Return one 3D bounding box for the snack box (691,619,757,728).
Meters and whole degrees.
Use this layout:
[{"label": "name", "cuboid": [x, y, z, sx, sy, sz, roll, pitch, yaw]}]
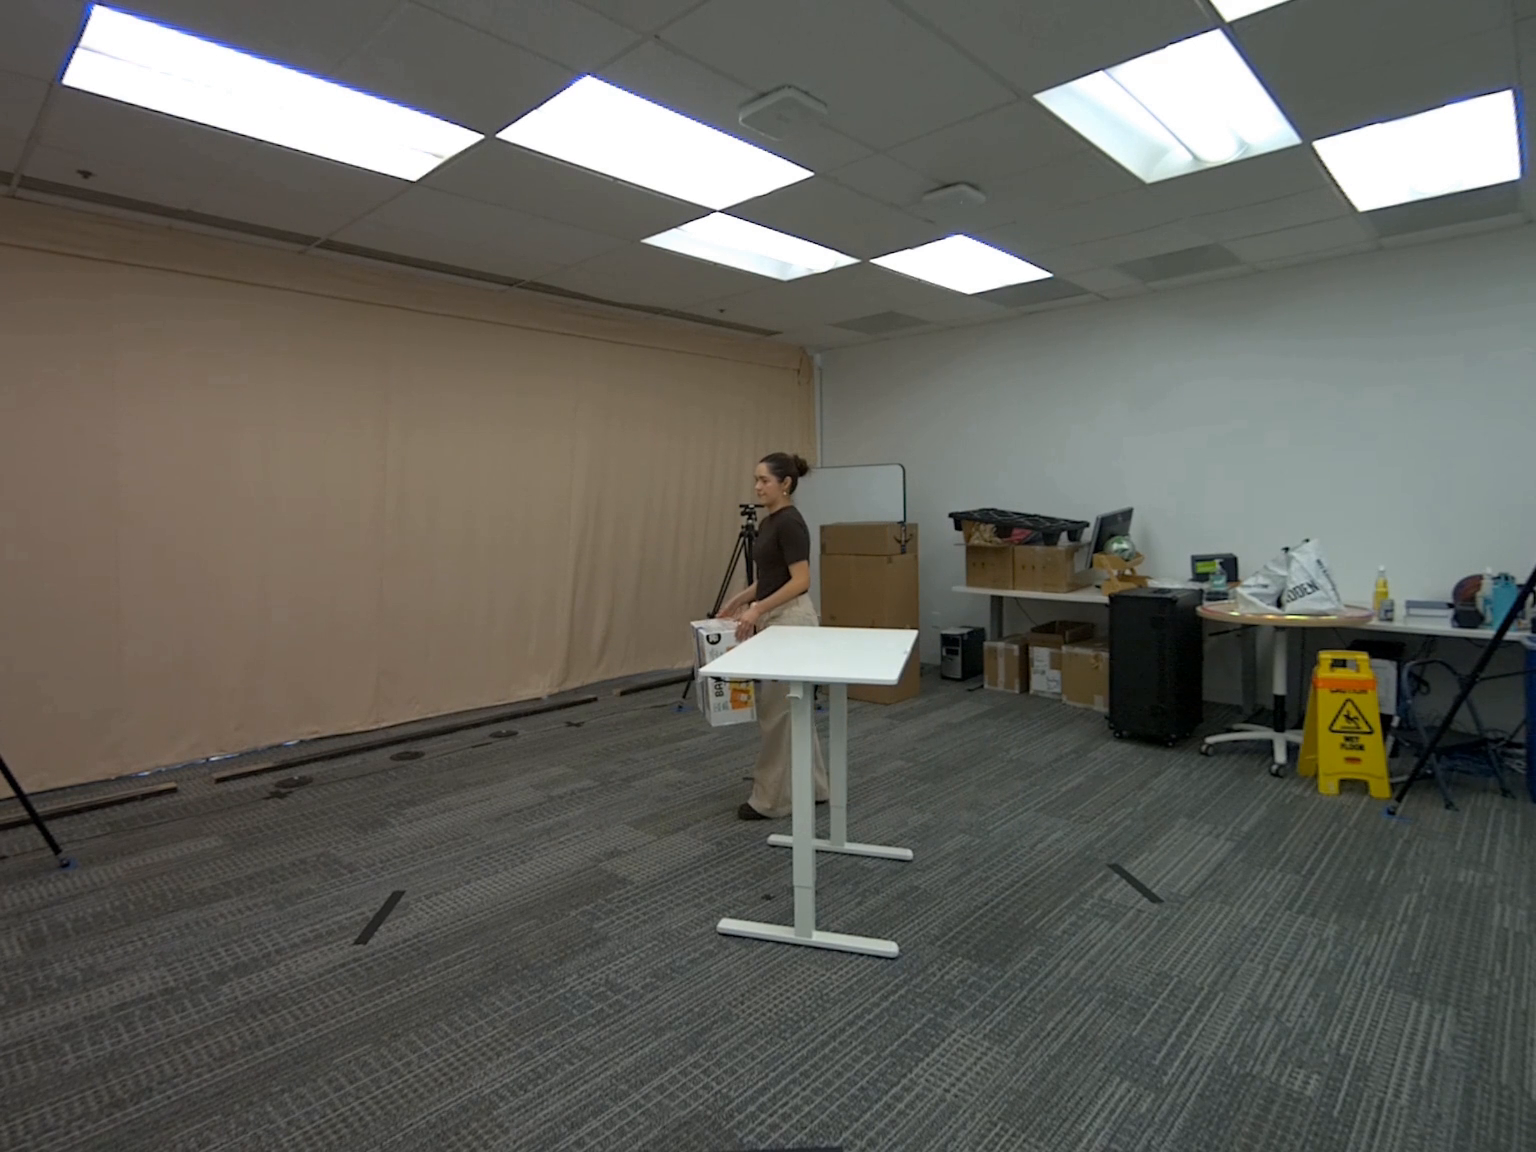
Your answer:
[{"label": "snack box", "cuboid": [-0.203, 0.421, 3.801, 0.203, 0.404, 0.346, -6, 6, -14]}]
